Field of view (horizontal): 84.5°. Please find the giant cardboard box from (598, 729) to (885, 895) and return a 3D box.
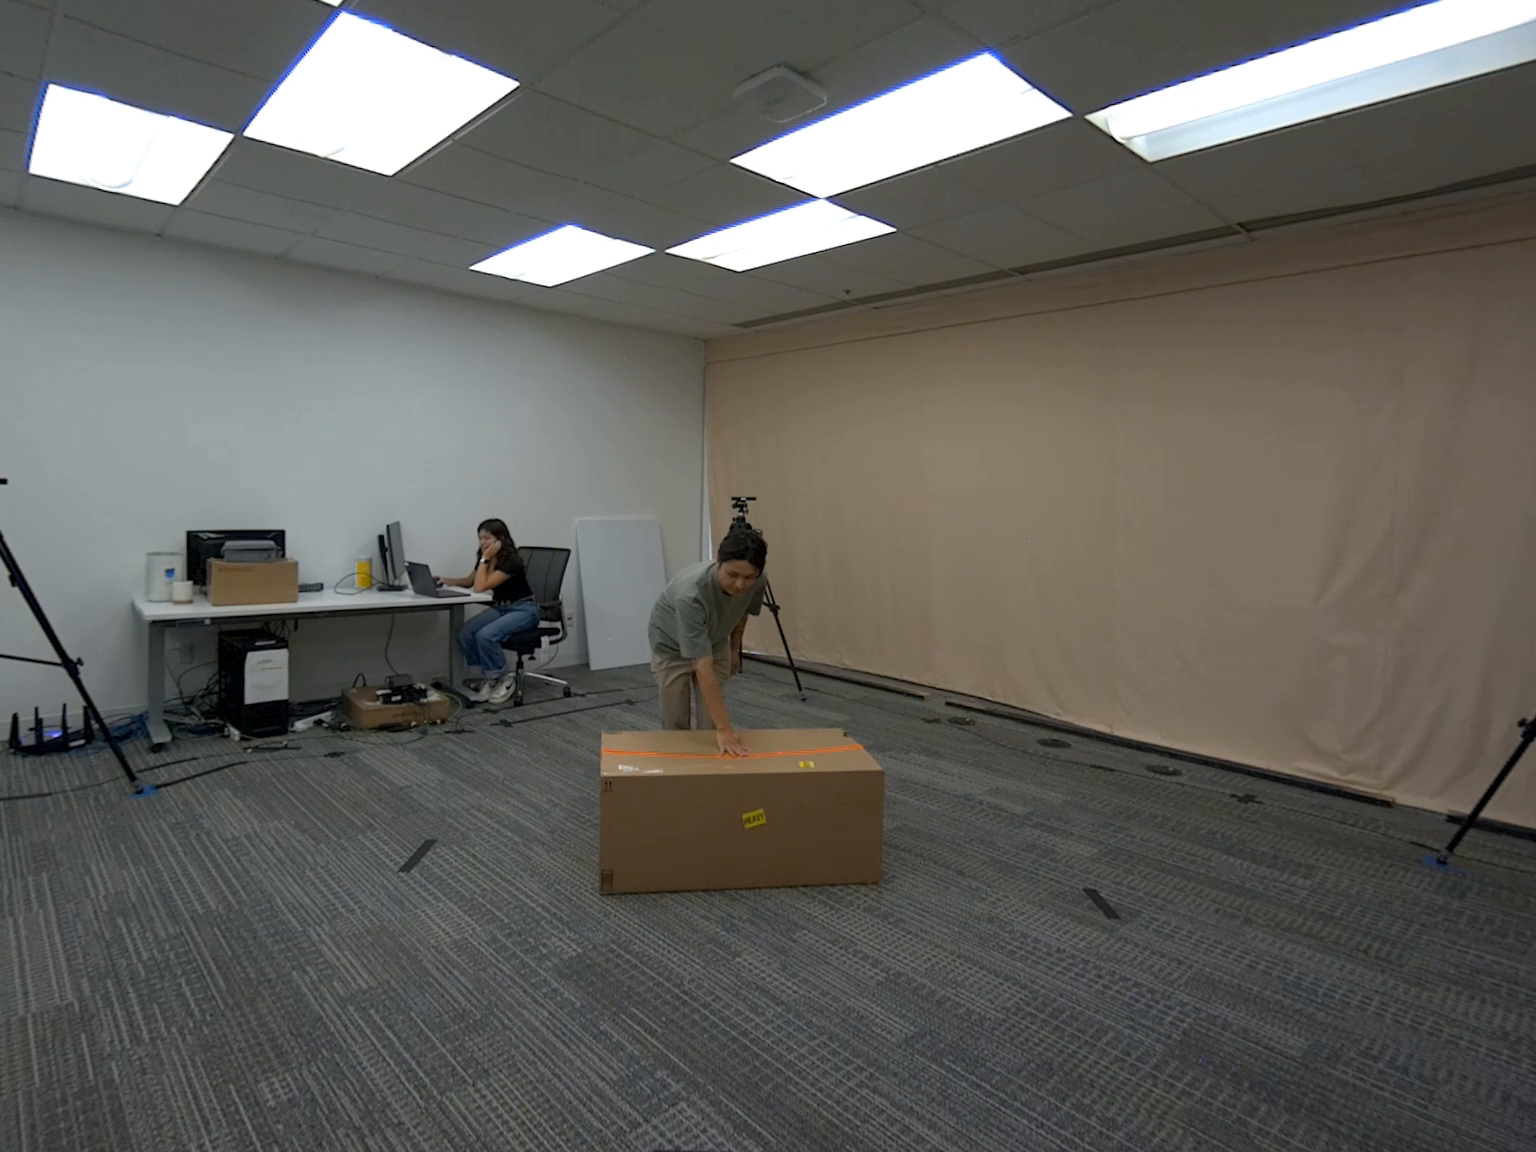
[{"bbox_3d":[-0.142,0.877,3.267,1.018,0.425,0.583,1,5,-9],"label":"giant cardboard box"}]
